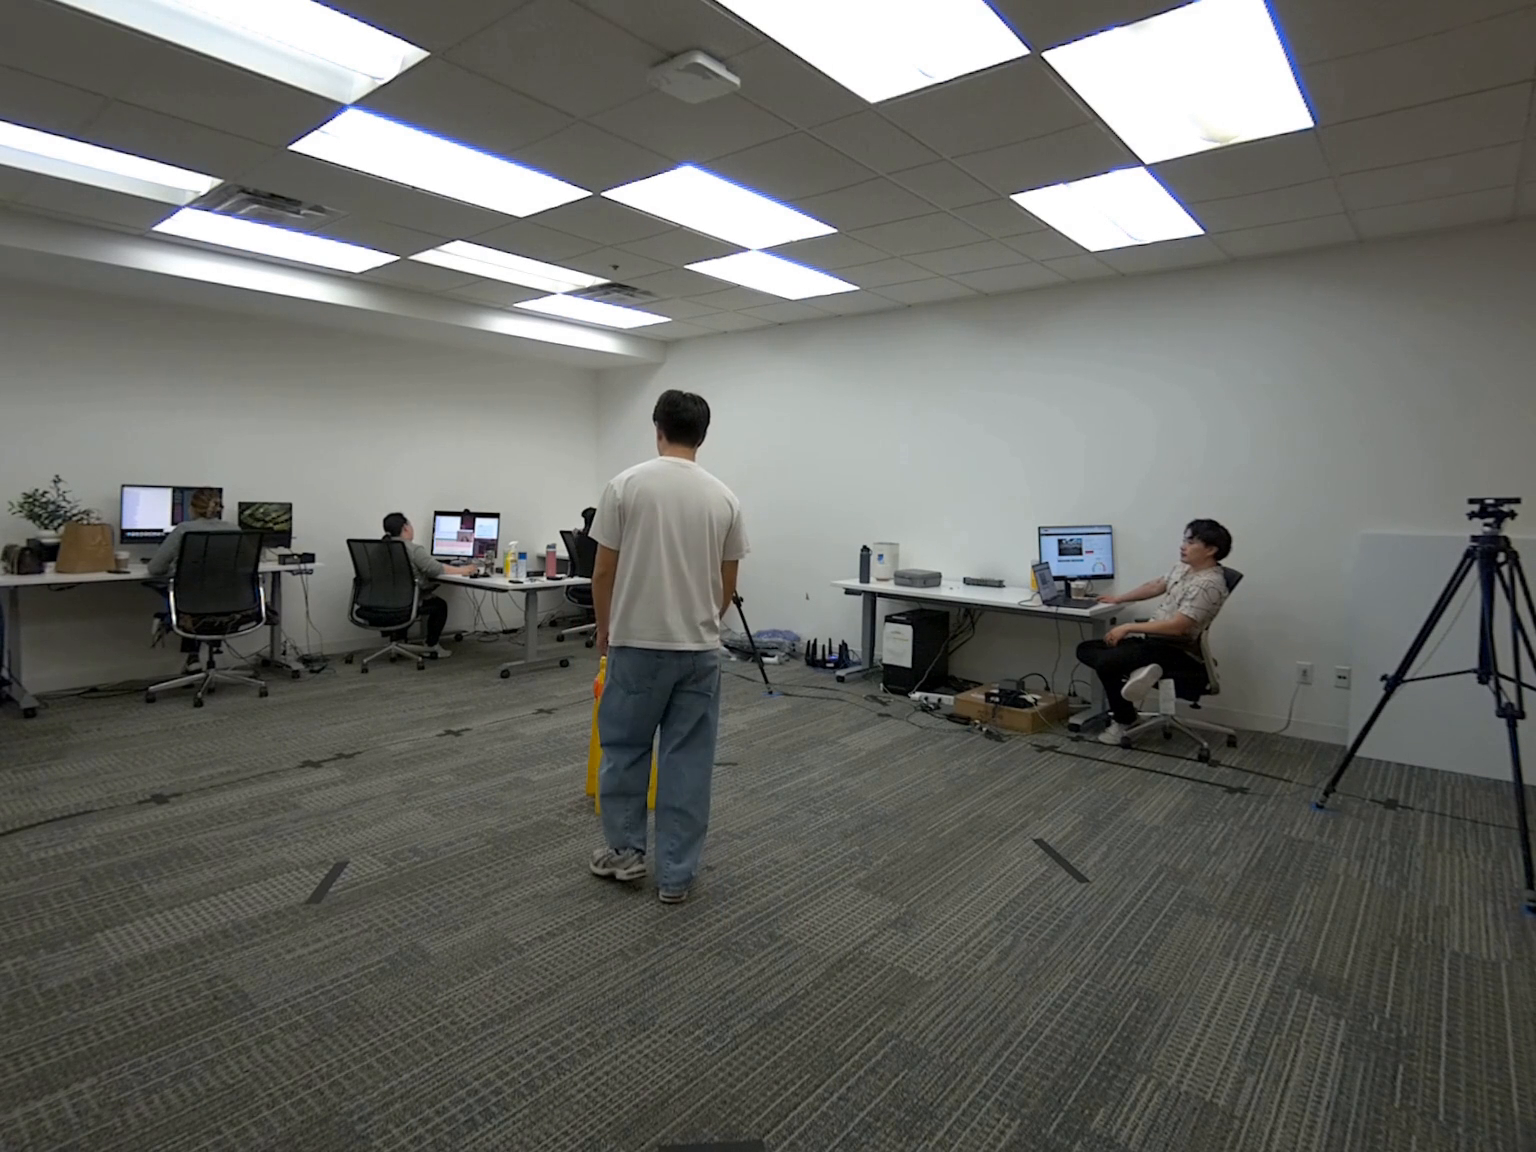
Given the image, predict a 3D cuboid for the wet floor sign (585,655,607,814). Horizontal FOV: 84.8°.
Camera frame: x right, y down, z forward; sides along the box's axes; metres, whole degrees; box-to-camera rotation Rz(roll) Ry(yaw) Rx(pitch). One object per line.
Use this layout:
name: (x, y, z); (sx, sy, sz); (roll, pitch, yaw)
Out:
wet floor sign: (-0.639, 0.674, 3.752); (0.277, 0.644, 0.296); (1, 3, -19)
